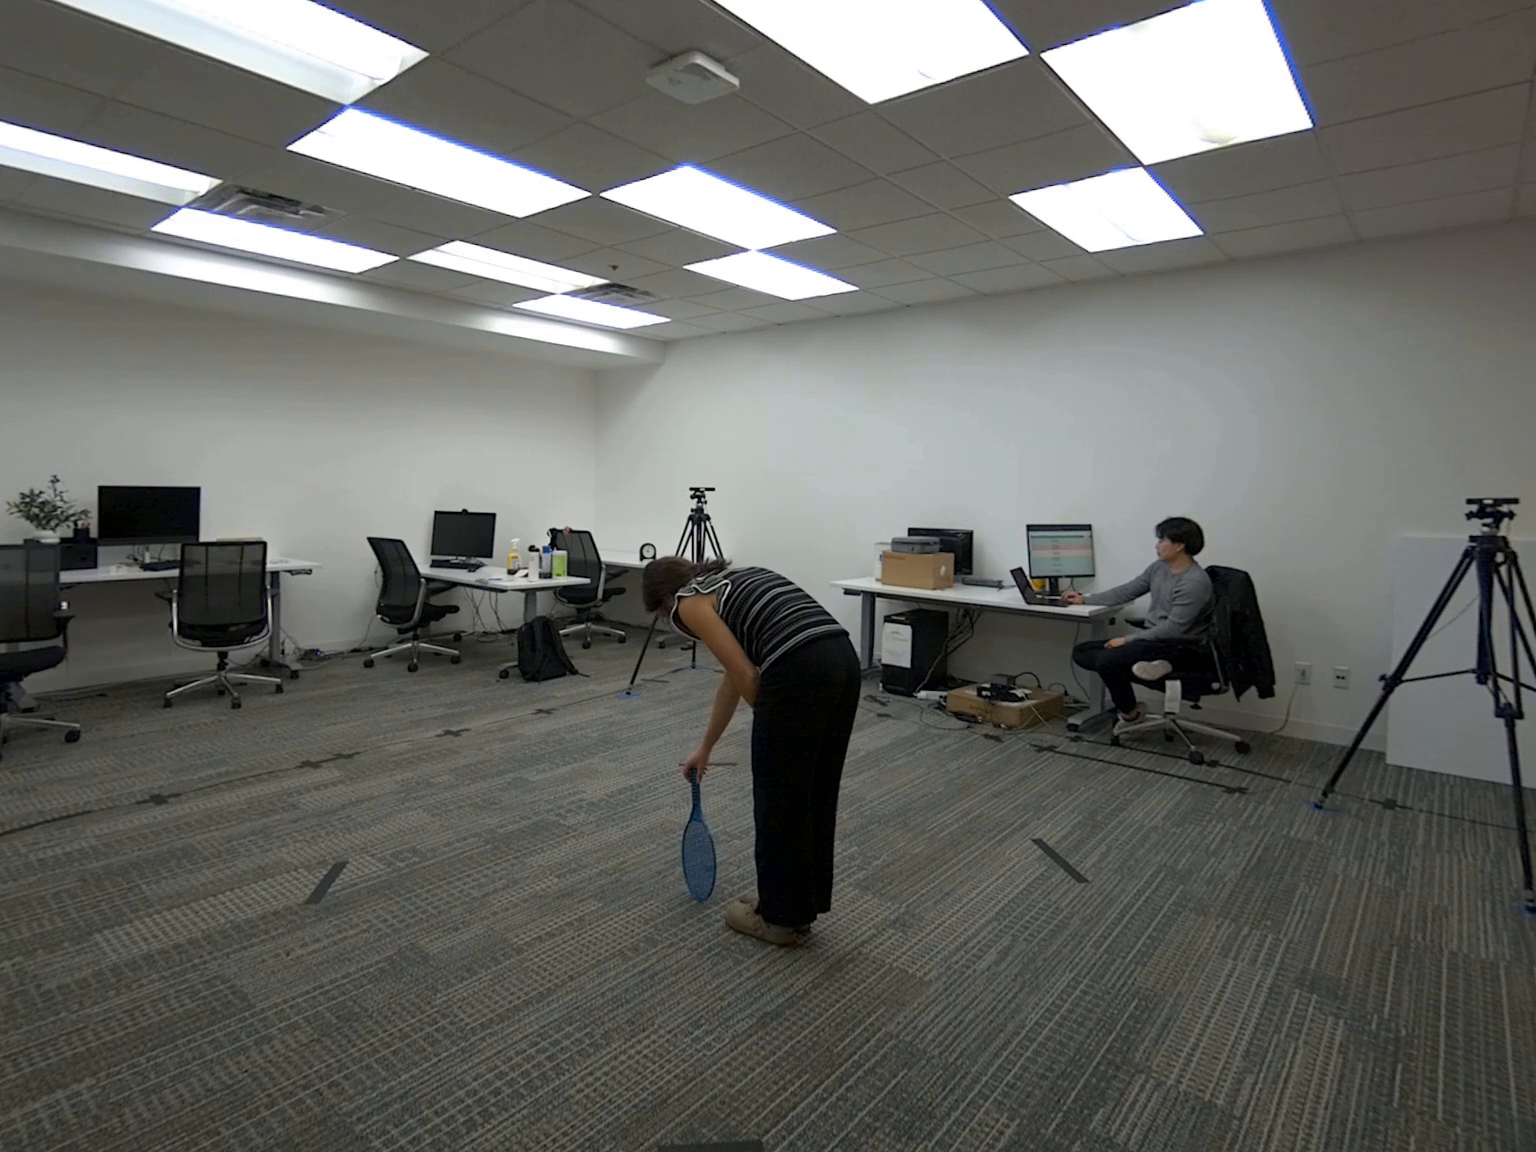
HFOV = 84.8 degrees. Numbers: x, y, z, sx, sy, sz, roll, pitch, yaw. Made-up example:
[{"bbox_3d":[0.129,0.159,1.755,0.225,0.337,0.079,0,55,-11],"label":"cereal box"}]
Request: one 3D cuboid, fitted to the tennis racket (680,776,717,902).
[{"bbox_3d":[-0.247,0.873,2.895,0.031,0.437,0.218,5,-11,-33],"label":"tennis racket"}]
